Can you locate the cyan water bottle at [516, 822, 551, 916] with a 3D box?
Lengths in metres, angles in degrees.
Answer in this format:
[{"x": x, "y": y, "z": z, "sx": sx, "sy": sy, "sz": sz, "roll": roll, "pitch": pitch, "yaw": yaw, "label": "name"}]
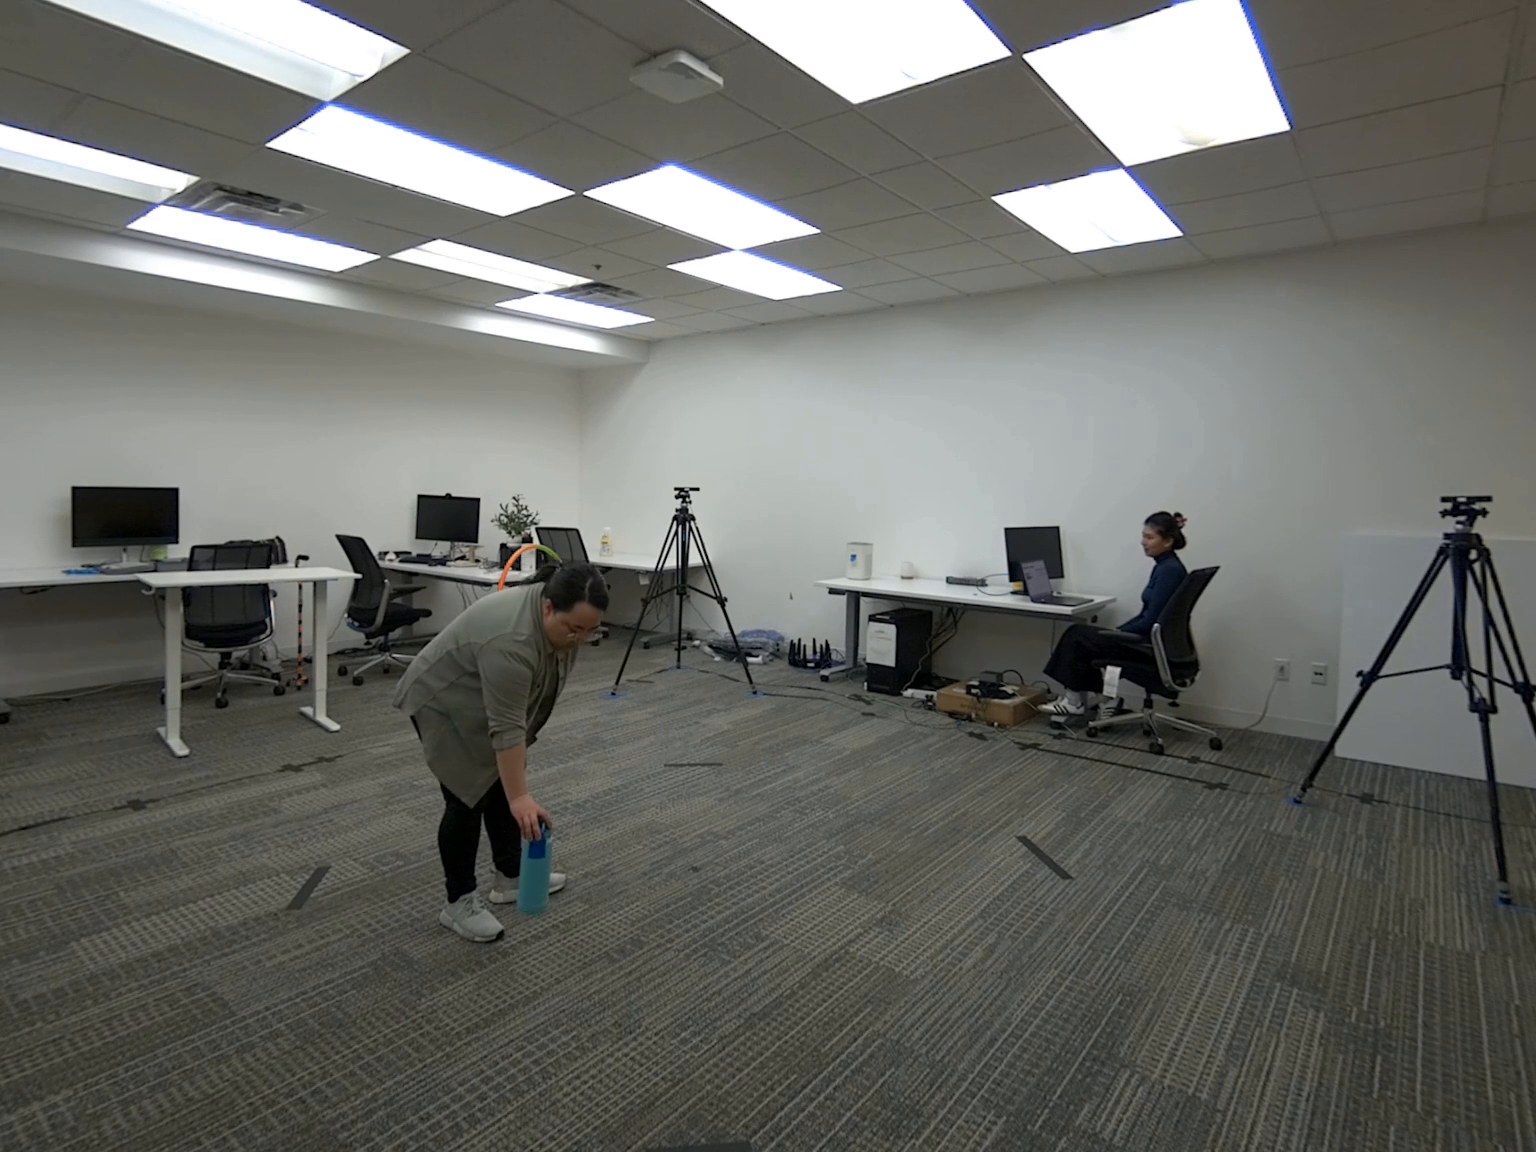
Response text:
[{"x": -0.689, "y": 0.829, "z": 2.487, "sx": 0.092, "sy": 0.282, "sz": 0.093, "roll": 6, "pitch": 7, "yaw": -3, "label": "cyan water bottle"}]
